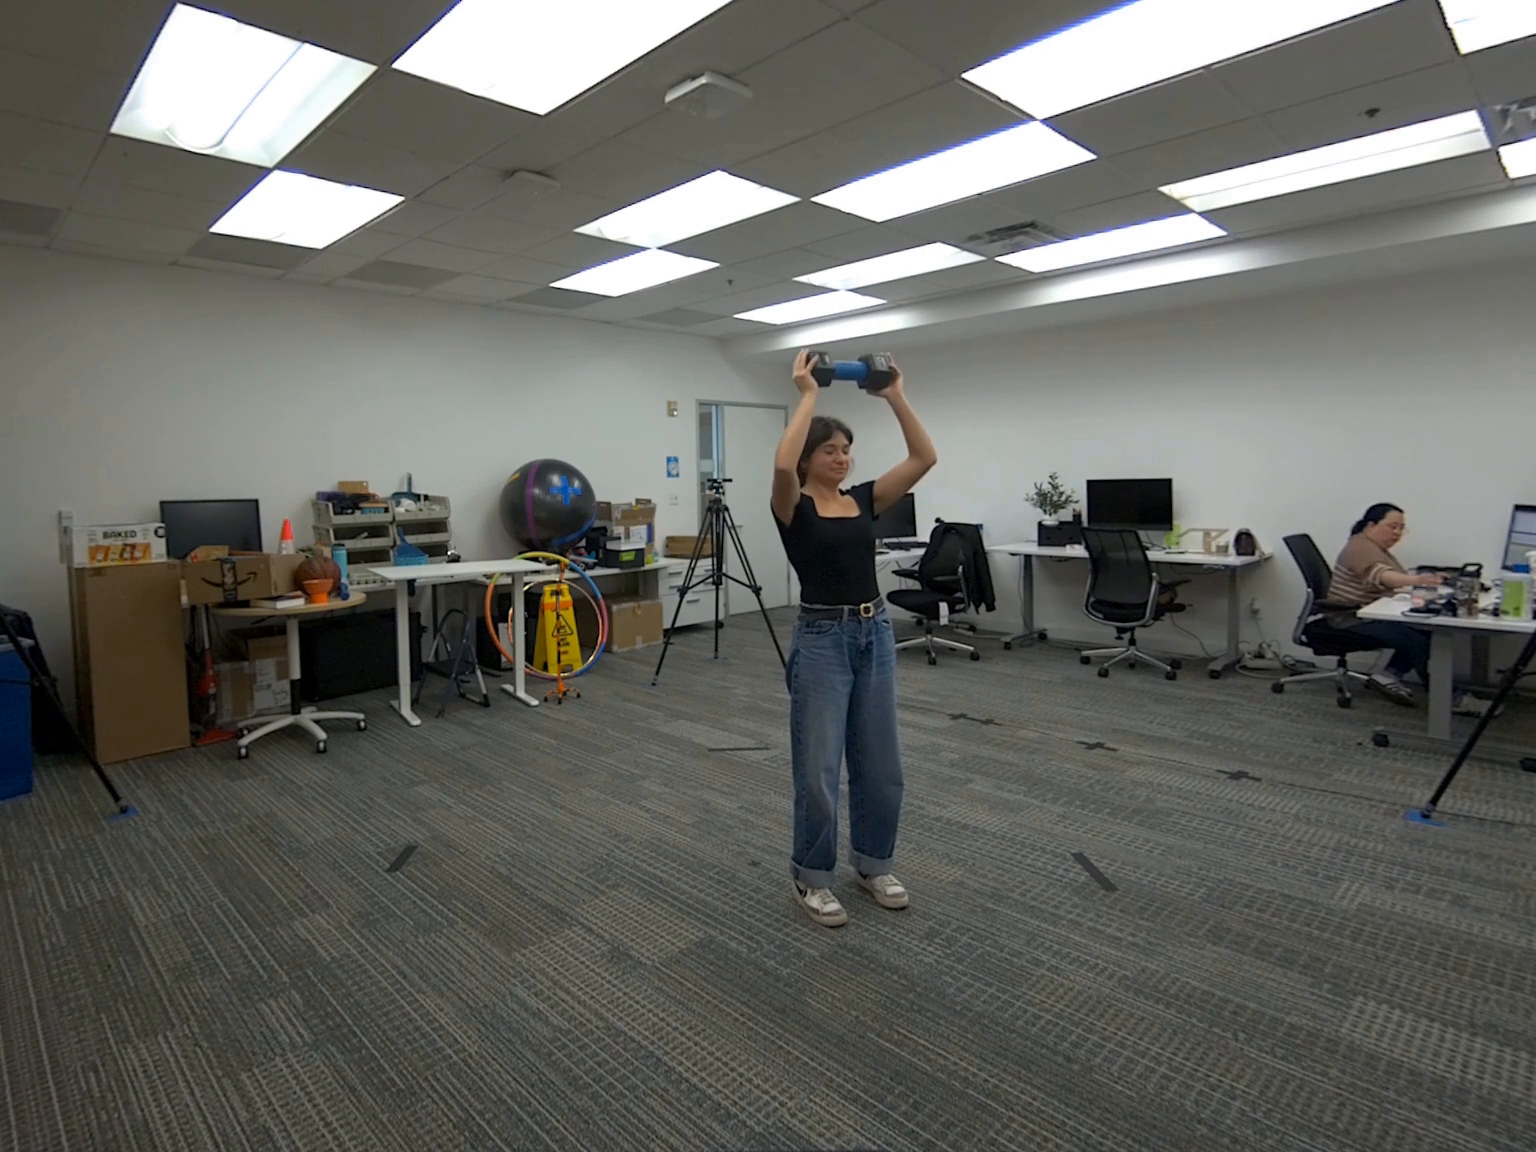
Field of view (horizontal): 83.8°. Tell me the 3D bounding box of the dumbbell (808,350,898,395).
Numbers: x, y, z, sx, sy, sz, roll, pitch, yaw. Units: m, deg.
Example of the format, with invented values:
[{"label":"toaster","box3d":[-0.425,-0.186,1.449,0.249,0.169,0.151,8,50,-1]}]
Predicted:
[{"label":"dumbbell","box3d":[0.242,-0.632,2.646,0.287,0.121,0.113,-3,39,-27]}]
